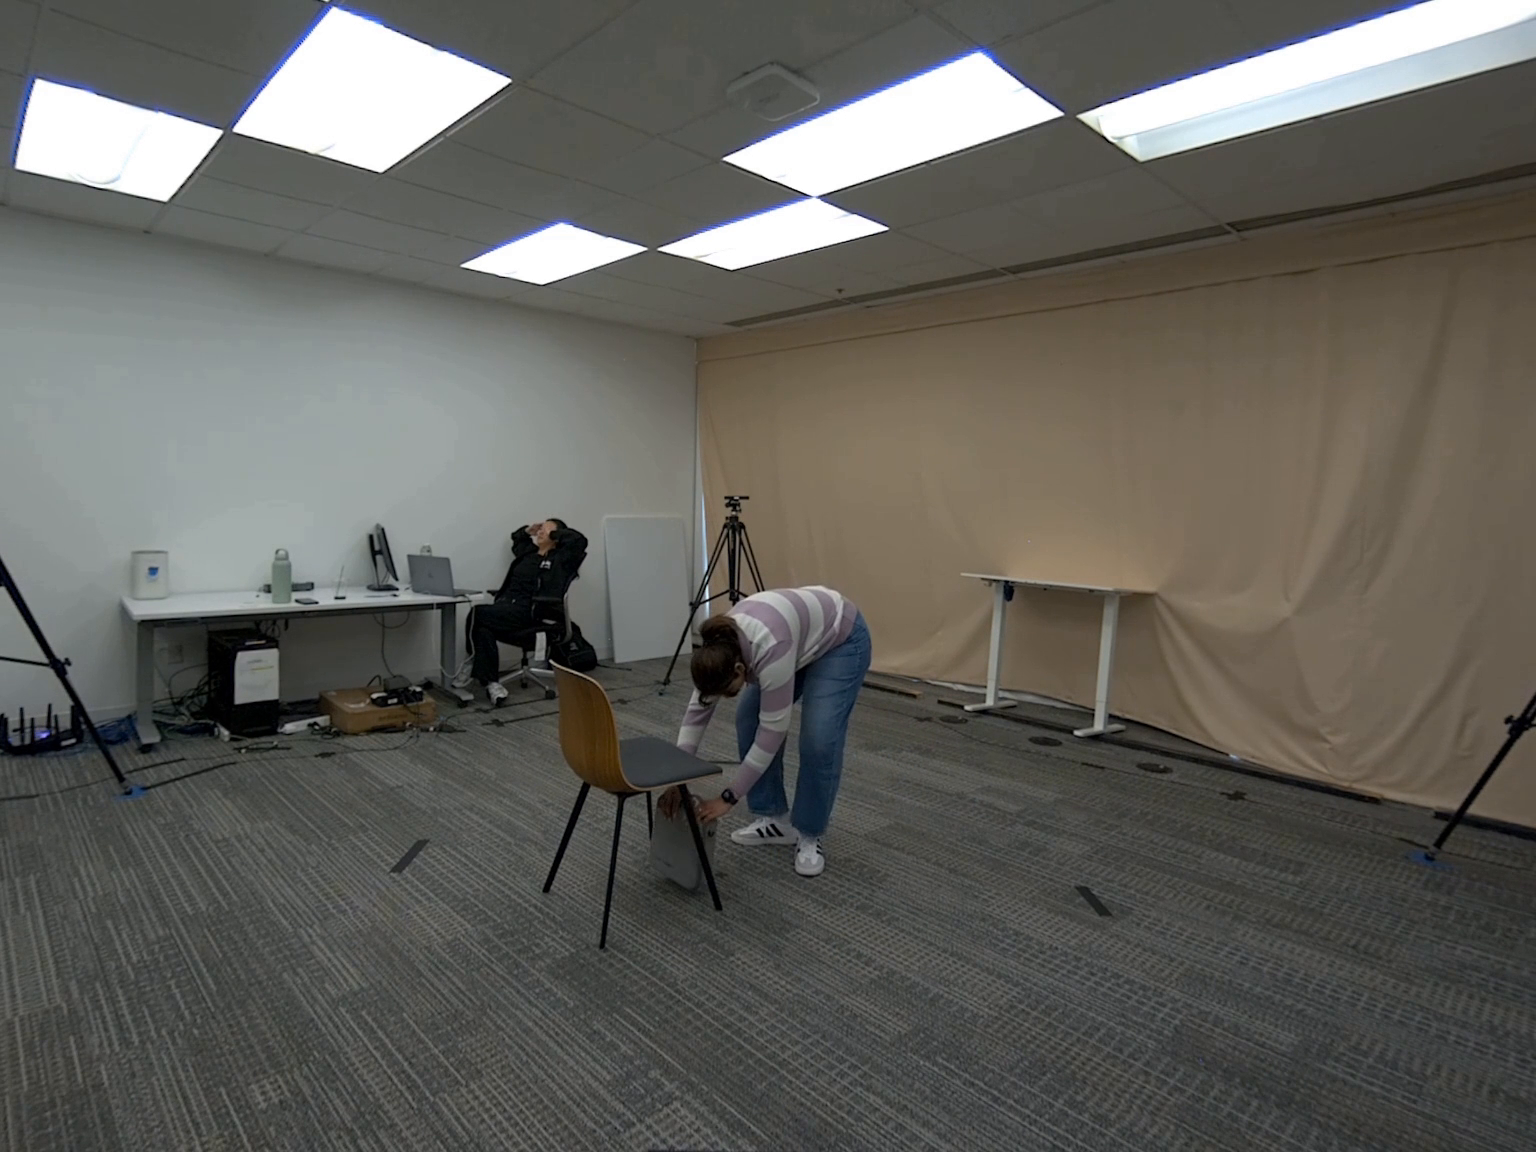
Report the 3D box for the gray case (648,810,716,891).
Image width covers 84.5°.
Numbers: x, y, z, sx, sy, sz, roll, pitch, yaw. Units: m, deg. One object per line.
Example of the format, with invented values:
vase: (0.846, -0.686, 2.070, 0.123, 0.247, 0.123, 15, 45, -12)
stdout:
gray case: (-0.310, 0.952, 2.990, 0.102, 0.260, 0.264, 6, 2, -41)
